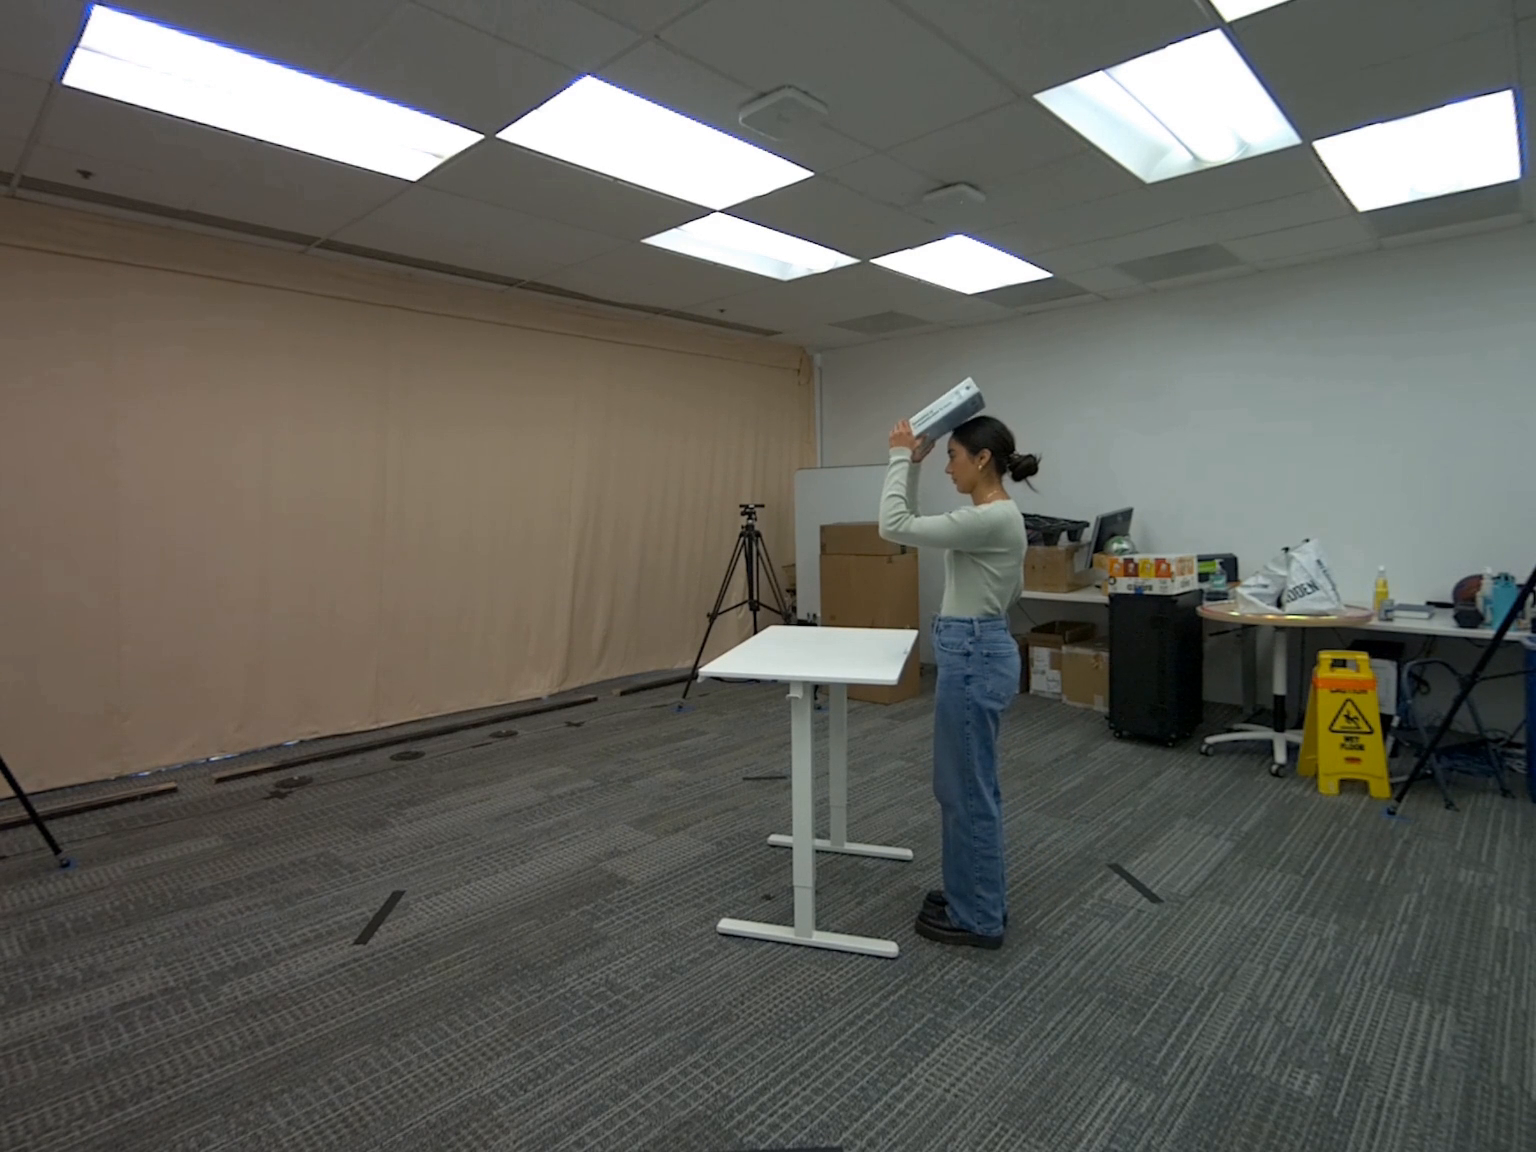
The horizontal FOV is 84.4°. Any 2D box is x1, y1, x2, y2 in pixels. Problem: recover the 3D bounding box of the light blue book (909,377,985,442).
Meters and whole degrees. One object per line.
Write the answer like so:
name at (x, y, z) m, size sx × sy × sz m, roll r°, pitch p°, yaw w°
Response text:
light blue book at (0.562, -0.505, 2.683) m, size 0.263 × 0.060 × 0.186 m, roll -35°, pitch -15°, yaw 15°
